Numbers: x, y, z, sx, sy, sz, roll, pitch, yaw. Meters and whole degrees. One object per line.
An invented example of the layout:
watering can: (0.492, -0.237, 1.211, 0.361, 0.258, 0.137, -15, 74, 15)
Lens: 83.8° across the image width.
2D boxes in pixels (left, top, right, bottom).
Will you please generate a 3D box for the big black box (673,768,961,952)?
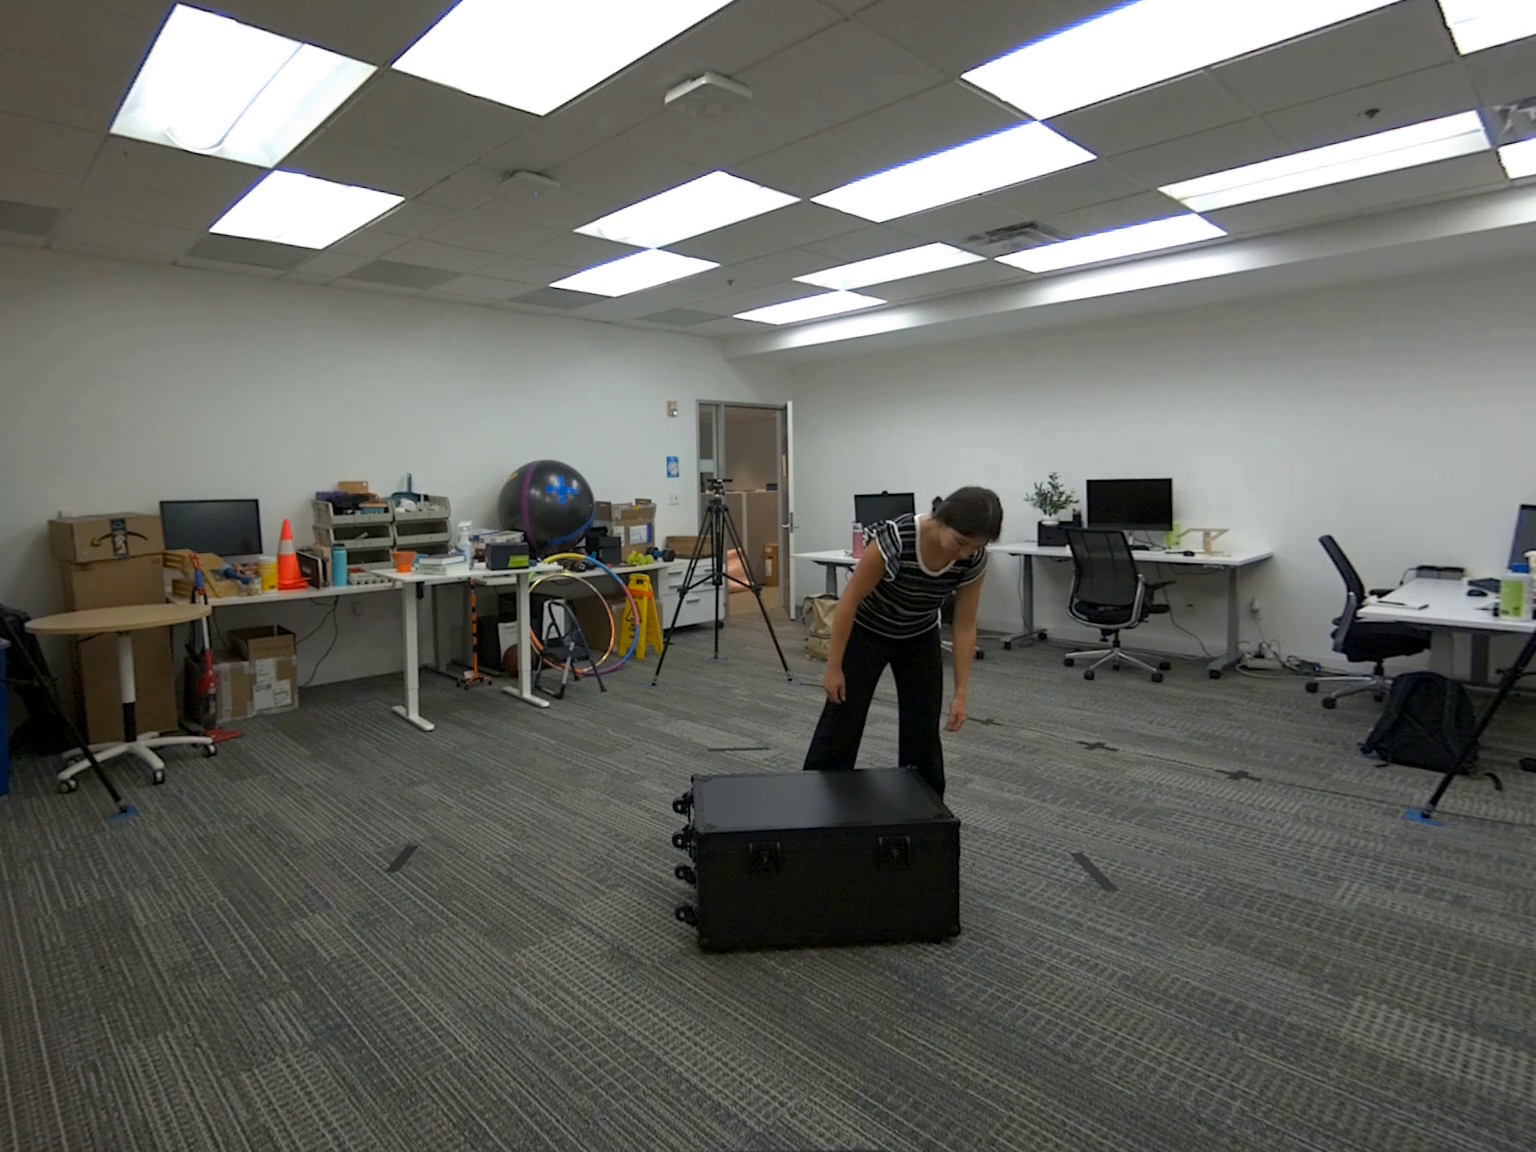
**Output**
big black box: (0.120, 0.891, 2.751, 0.858, 0.395, 0.526, -1, 5, -5)
